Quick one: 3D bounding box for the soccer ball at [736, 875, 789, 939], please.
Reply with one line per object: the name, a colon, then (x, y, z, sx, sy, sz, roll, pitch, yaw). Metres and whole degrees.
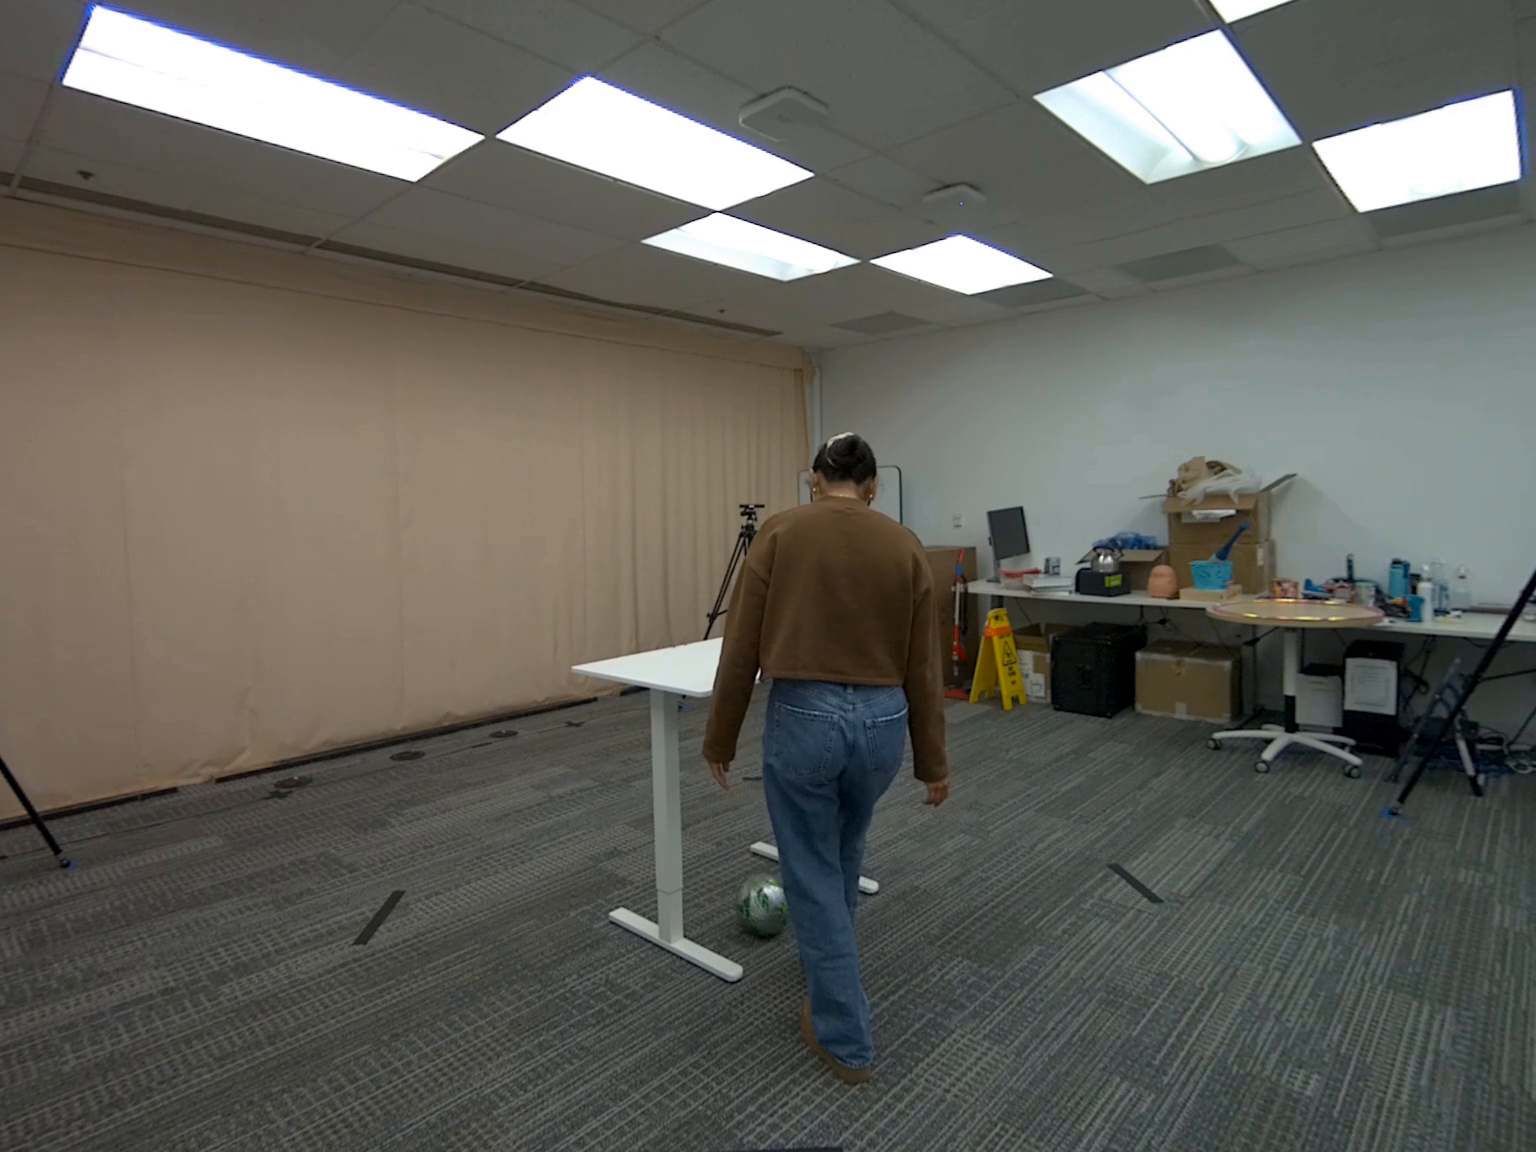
soccer ball: (-0.009, 1.068, 2.734, 0.187, 0.187, 0.188, -1, 4, -2)
